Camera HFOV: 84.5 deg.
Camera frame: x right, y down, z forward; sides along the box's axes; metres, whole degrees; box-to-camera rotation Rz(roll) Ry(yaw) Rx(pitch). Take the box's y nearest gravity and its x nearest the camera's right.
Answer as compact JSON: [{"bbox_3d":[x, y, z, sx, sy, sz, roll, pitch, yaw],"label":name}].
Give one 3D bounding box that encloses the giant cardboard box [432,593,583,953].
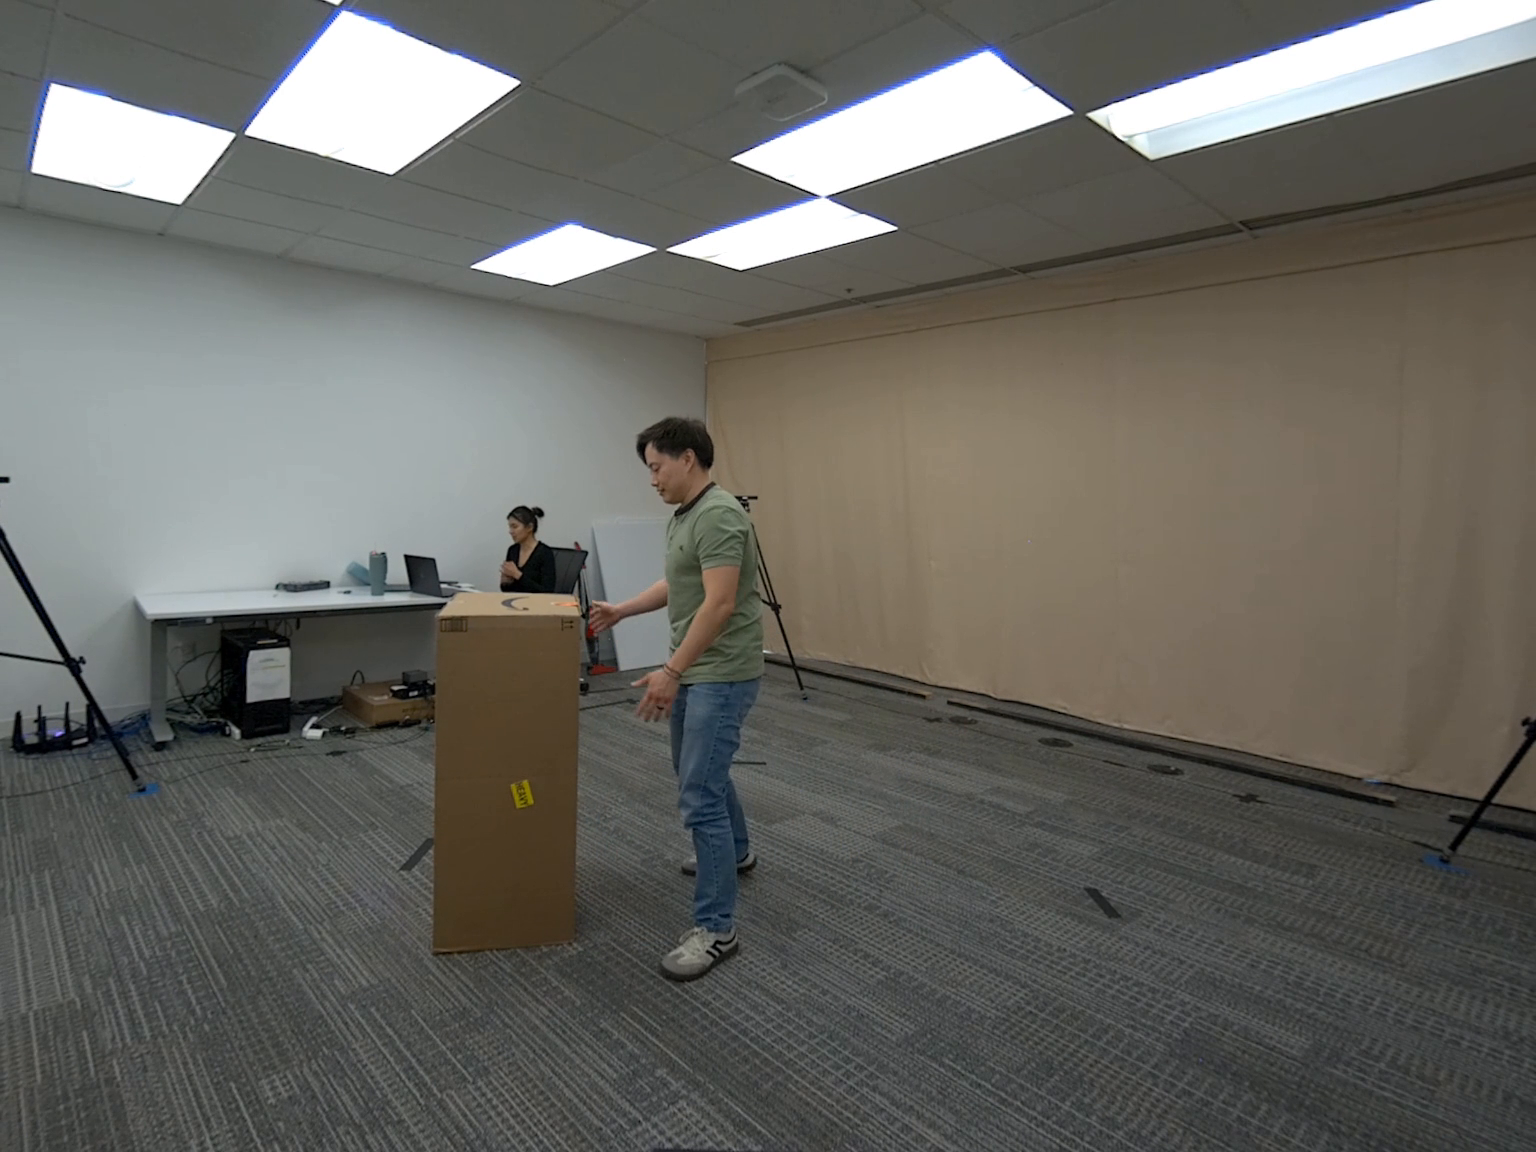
[{"bbox_3d":[-0.866,0.606,2.817,0.422,1.023,0.585,0,3,-14],"label":"giant cardboard box"}]
